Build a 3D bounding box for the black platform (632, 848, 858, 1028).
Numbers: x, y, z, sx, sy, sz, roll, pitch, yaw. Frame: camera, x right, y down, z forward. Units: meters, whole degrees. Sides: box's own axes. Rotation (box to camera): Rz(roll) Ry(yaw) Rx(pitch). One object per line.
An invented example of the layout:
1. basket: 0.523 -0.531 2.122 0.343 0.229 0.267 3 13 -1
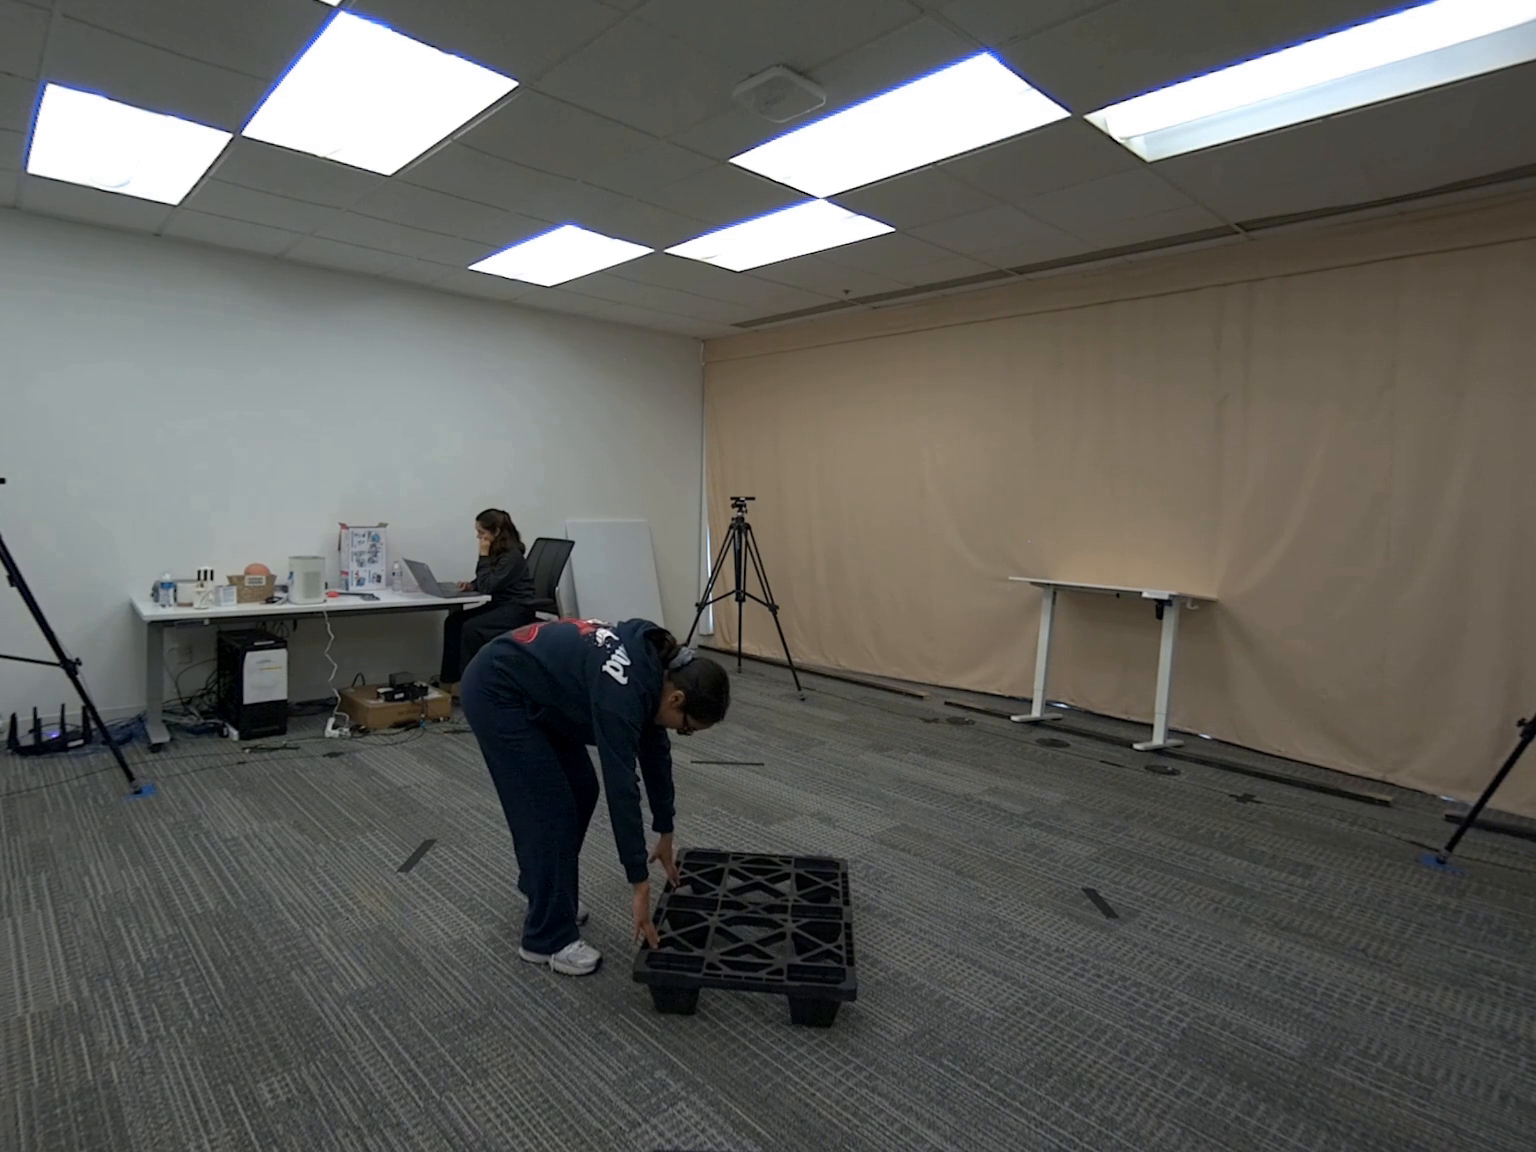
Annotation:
1. black platform: -0.047 1.086 2.601 0.607 0.143 0.805 1 5 4
